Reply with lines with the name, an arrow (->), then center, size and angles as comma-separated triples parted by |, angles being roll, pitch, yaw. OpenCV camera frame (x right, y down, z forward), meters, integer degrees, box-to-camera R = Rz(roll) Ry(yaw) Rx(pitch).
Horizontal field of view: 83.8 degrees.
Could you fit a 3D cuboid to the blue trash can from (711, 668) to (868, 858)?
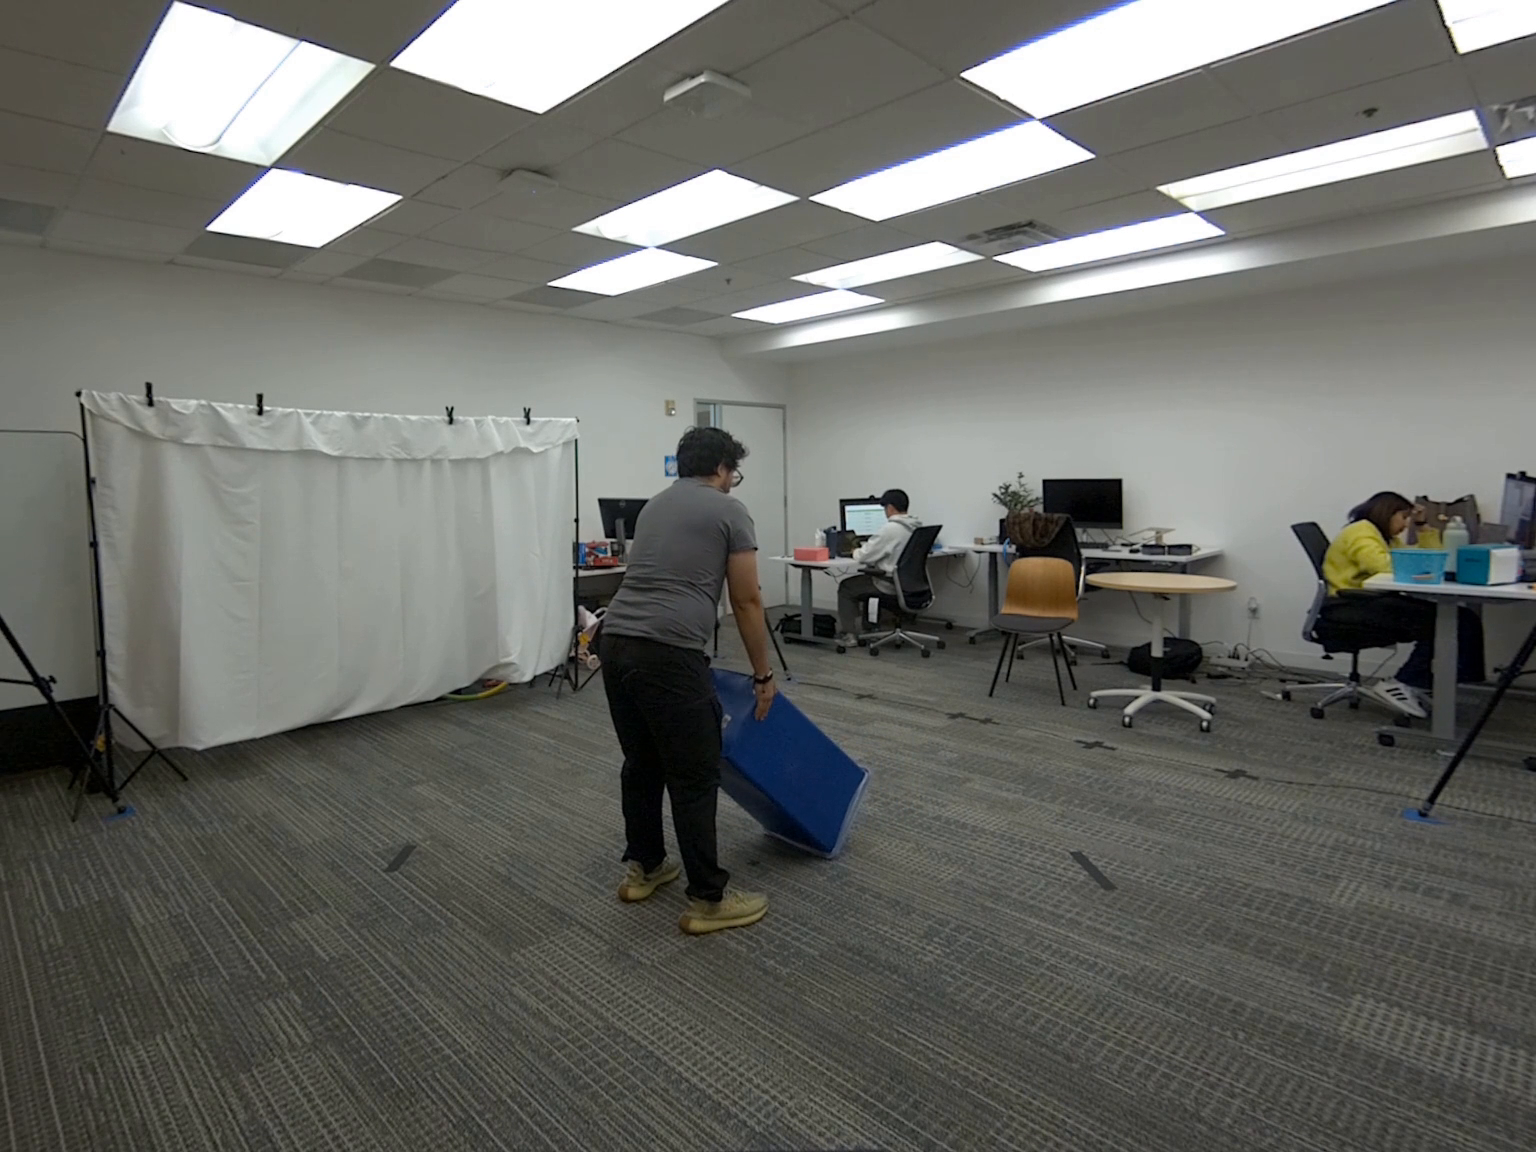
blue trash can -> 0.013, 0.677, 3.114 | 0.386, 0.380, 0.687 | 4, -35, 45
